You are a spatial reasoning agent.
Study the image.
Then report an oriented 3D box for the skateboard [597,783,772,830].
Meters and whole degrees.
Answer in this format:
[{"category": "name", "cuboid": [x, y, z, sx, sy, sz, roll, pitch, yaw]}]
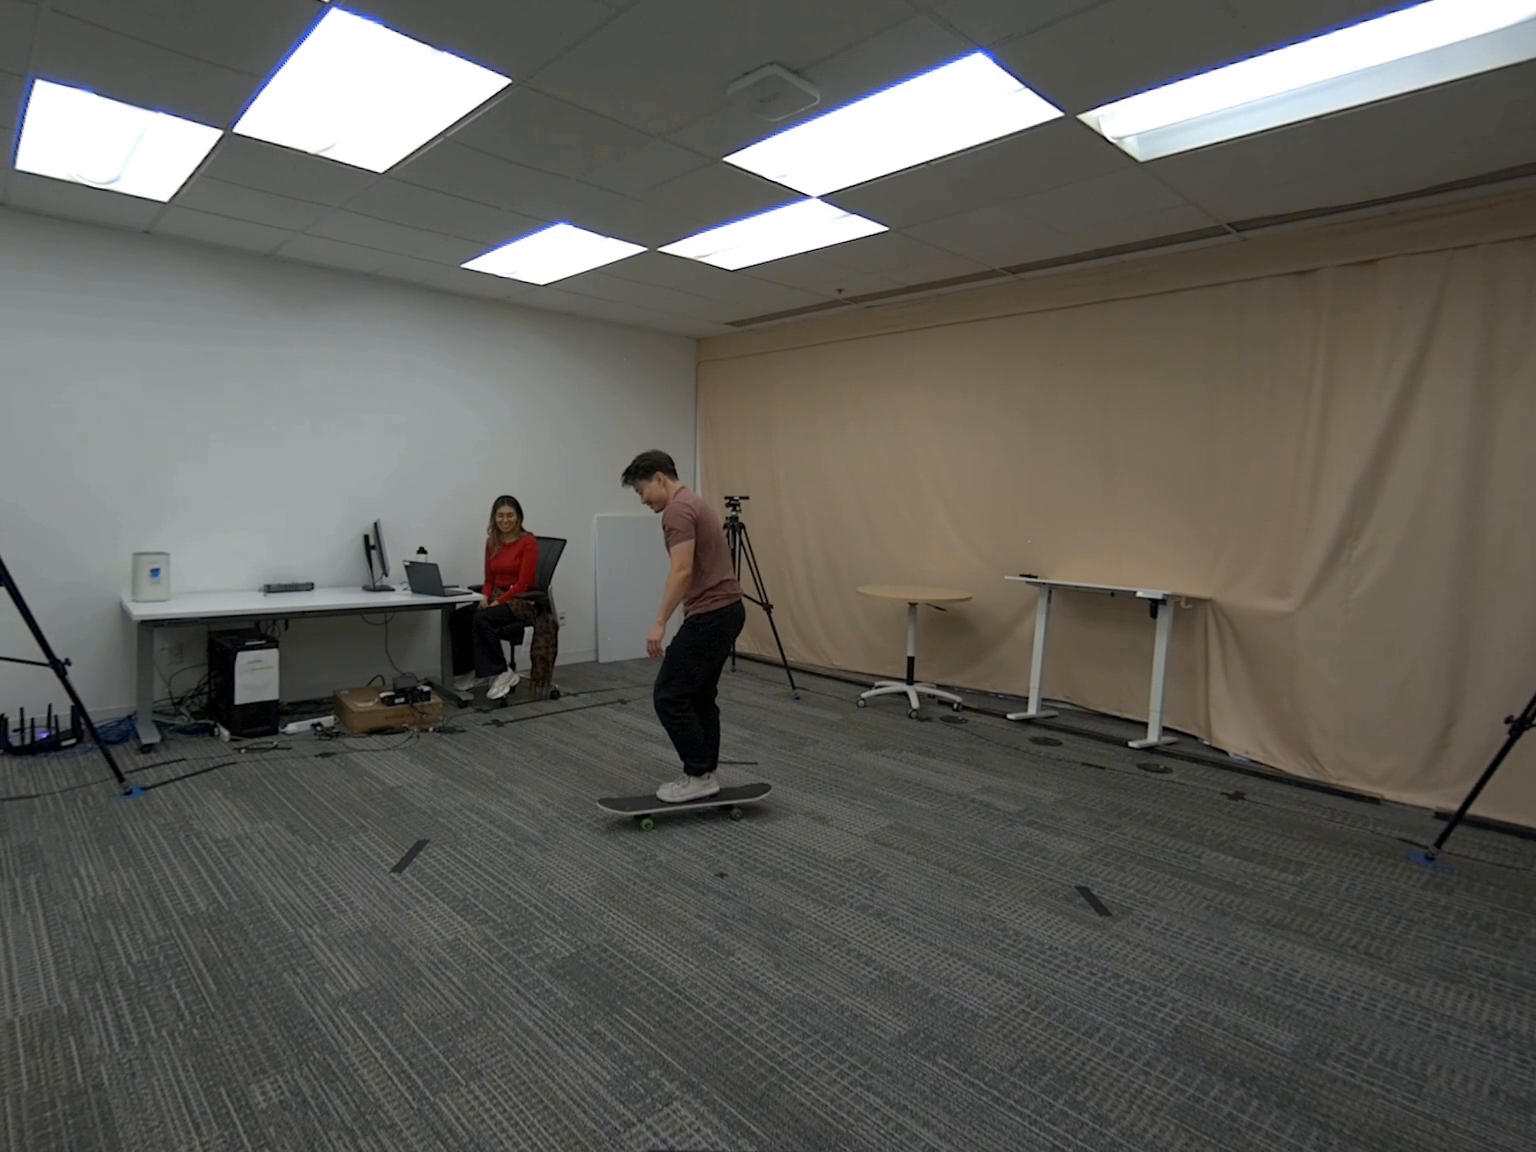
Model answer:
[{"category": "skateboard", "cuboid": [-0.354, 0.988, 3.652, 0.773, 0.110, 0.197, -2, 3, -21]}]
